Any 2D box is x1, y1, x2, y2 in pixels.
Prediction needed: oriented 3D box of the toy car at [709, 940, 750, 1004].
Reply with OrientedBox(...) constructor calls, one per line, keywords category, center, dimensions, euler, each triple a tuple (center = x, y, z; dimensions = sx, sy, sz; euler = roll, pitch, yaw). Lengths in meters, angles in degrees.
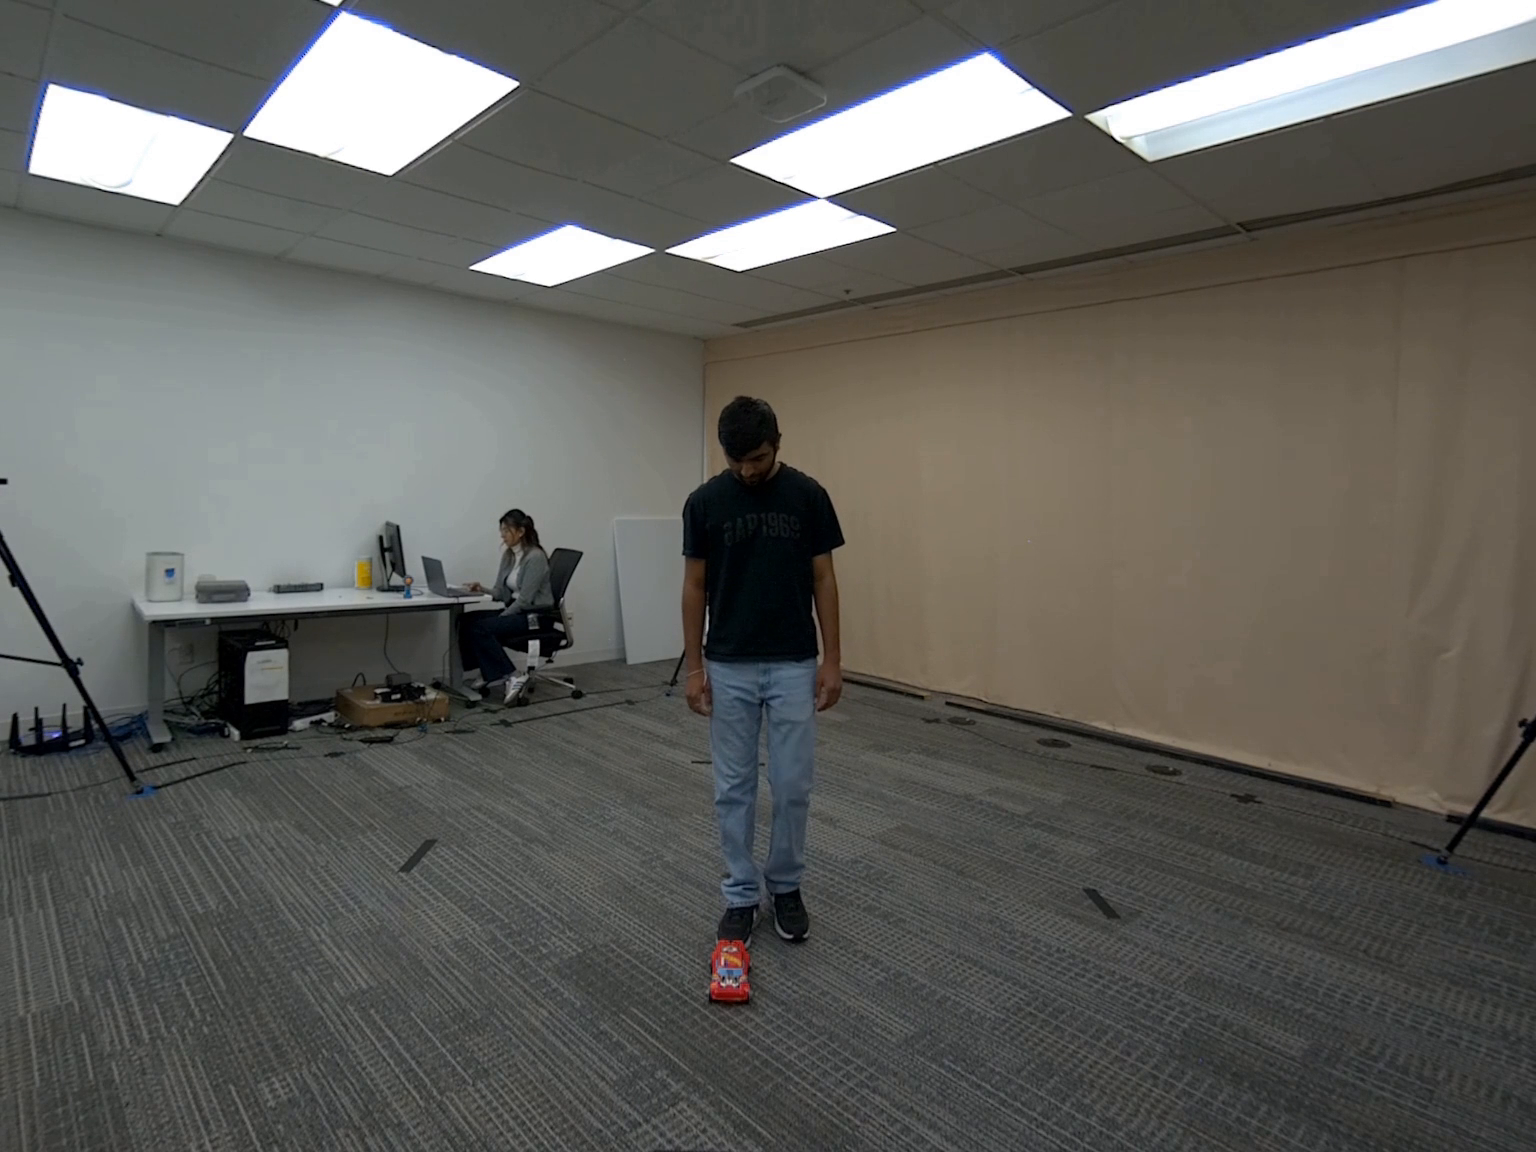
OrientedBox(category="toy car", center=(-0.126, 1.138, 2.418), dimensions=(0.130, 0.082, 0.257), euler=(2, 17, 0))
